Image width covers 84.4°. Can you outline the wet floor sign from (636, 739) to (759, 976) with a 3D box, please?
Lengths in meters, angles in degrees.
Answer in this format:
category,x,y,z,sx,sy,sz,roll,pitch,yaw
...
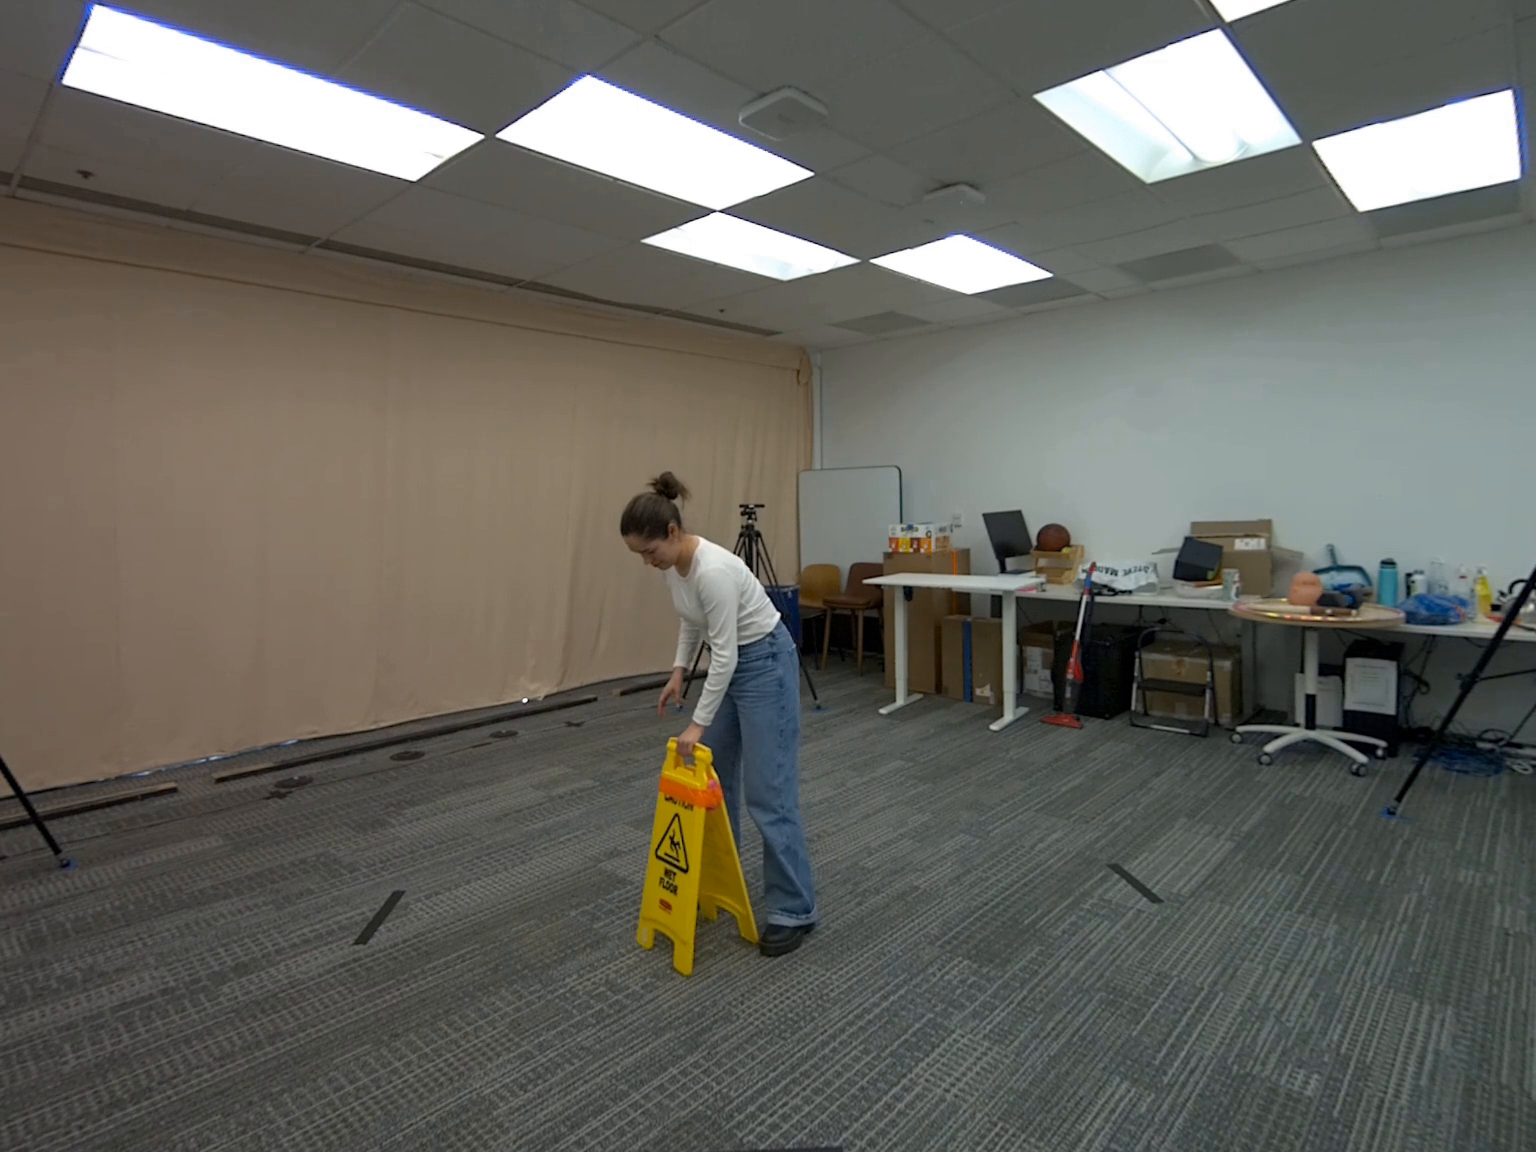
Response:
category,x,y,z,sx,sy,sz,roll,pitch,yaw
wet floor sign,-0.228,0.843,2.665,0.281,0.644,0.292,-5,6,-42
